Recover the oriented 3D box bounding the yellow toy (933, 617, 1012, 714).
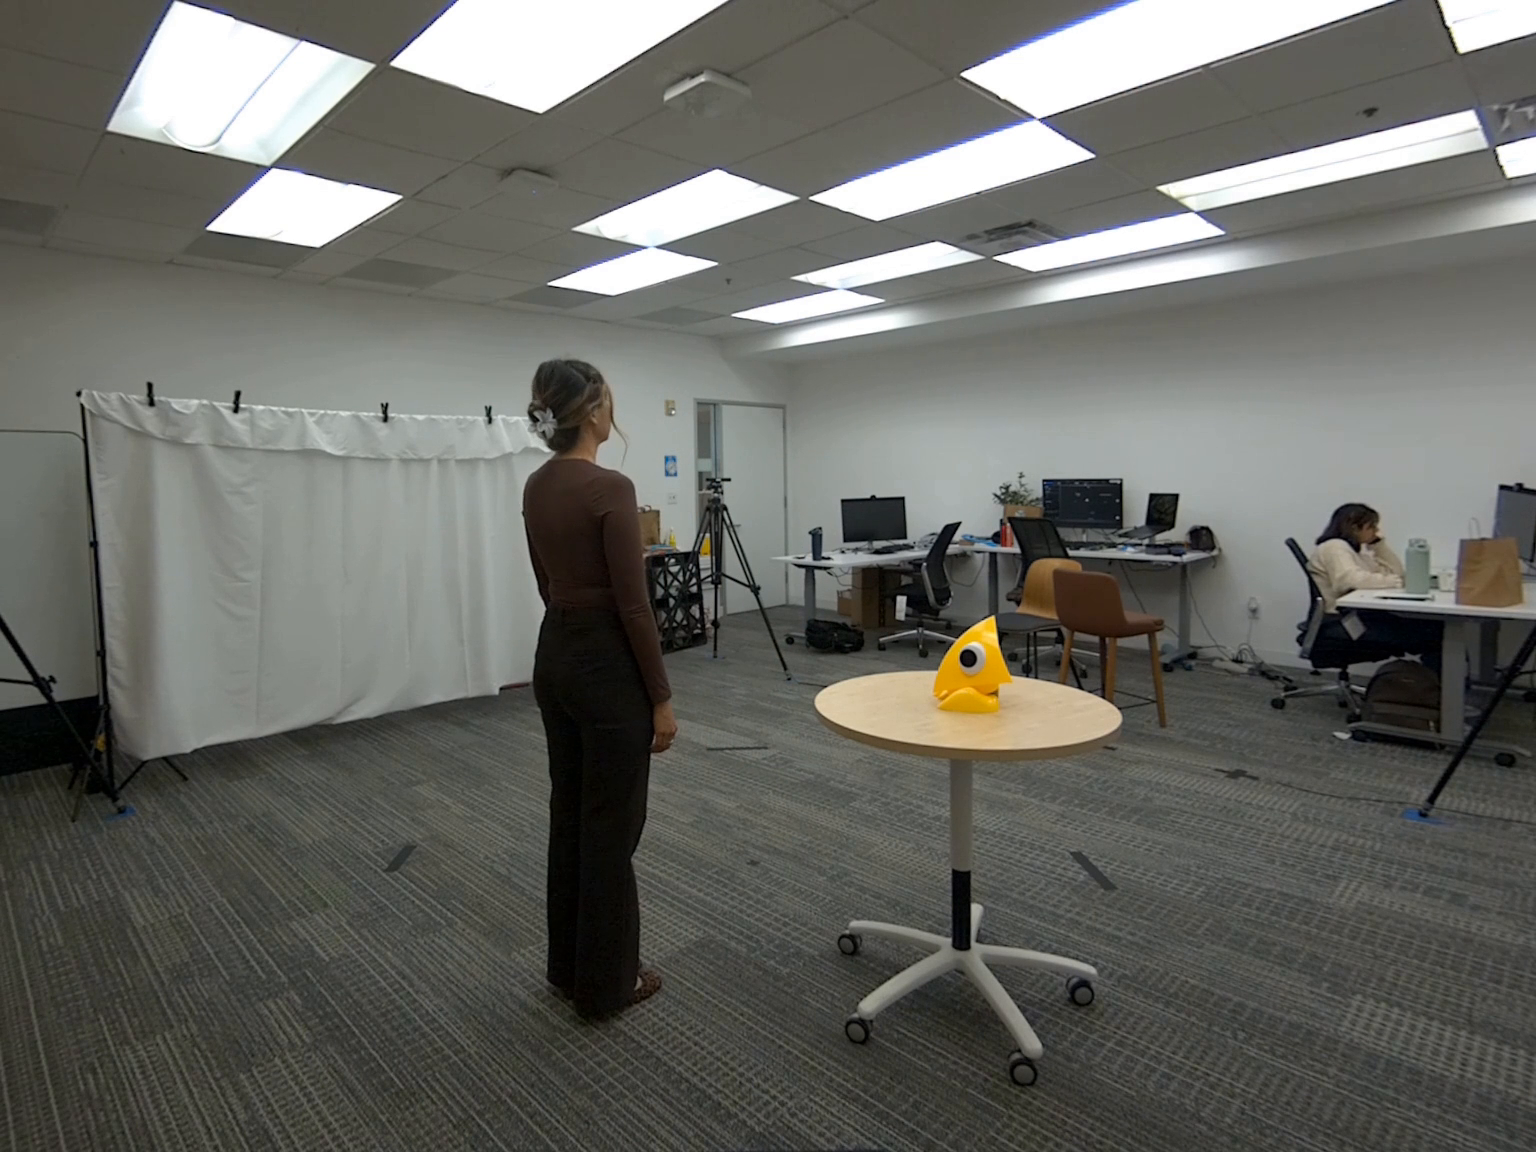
[{"bbox_3d":[0.540,0.222,2.236,0.194,0.230,0.204,-1,4,6],"label":"yellow toy"}]
